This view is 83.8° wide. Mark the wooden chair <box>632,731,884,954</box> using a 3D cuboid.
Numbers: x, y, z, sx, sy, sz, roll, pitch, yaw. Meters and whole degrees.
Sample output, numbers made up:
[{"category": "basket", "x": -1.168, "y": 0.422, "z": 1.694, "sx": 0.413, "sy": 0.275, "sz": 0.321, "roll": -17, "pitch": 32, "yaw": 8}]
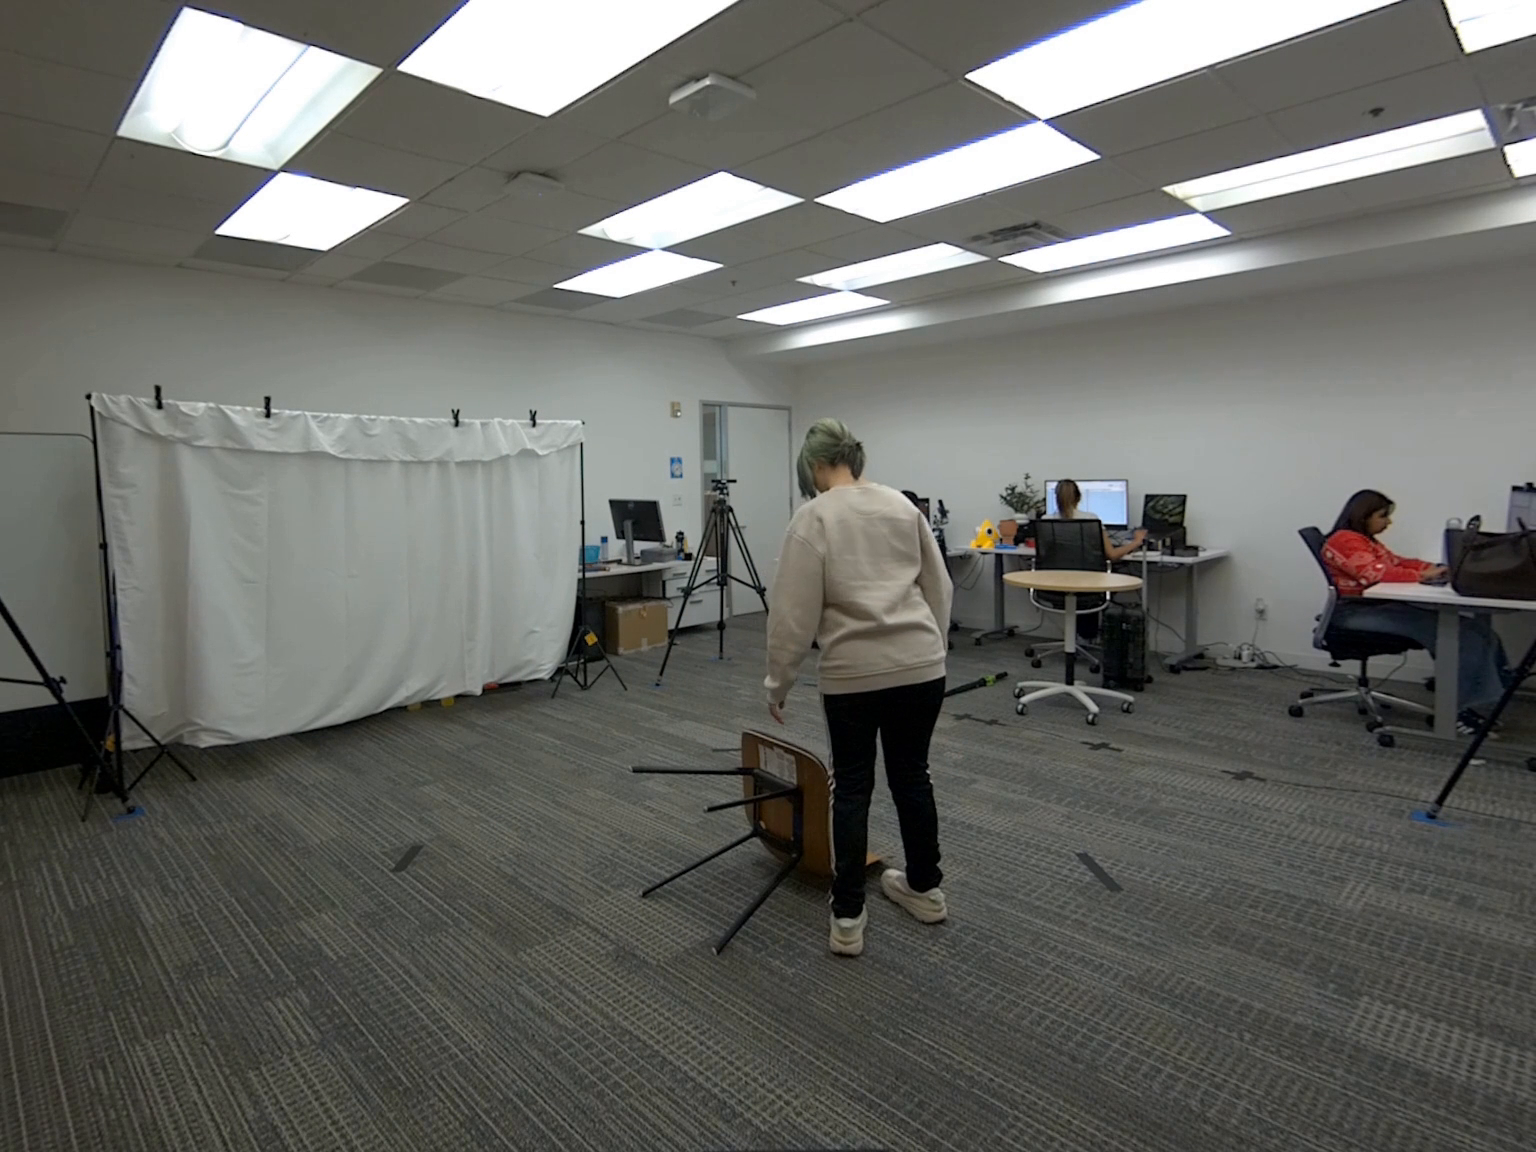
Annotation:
[{"category": "wooden chair", "x": 0.027, "y": 0.810, "z": 2.917, "sx": 0.854, "sy": 0.521, "sz": 0.492, "roll": -4, "pitch": 5, "yaw": -37}]
